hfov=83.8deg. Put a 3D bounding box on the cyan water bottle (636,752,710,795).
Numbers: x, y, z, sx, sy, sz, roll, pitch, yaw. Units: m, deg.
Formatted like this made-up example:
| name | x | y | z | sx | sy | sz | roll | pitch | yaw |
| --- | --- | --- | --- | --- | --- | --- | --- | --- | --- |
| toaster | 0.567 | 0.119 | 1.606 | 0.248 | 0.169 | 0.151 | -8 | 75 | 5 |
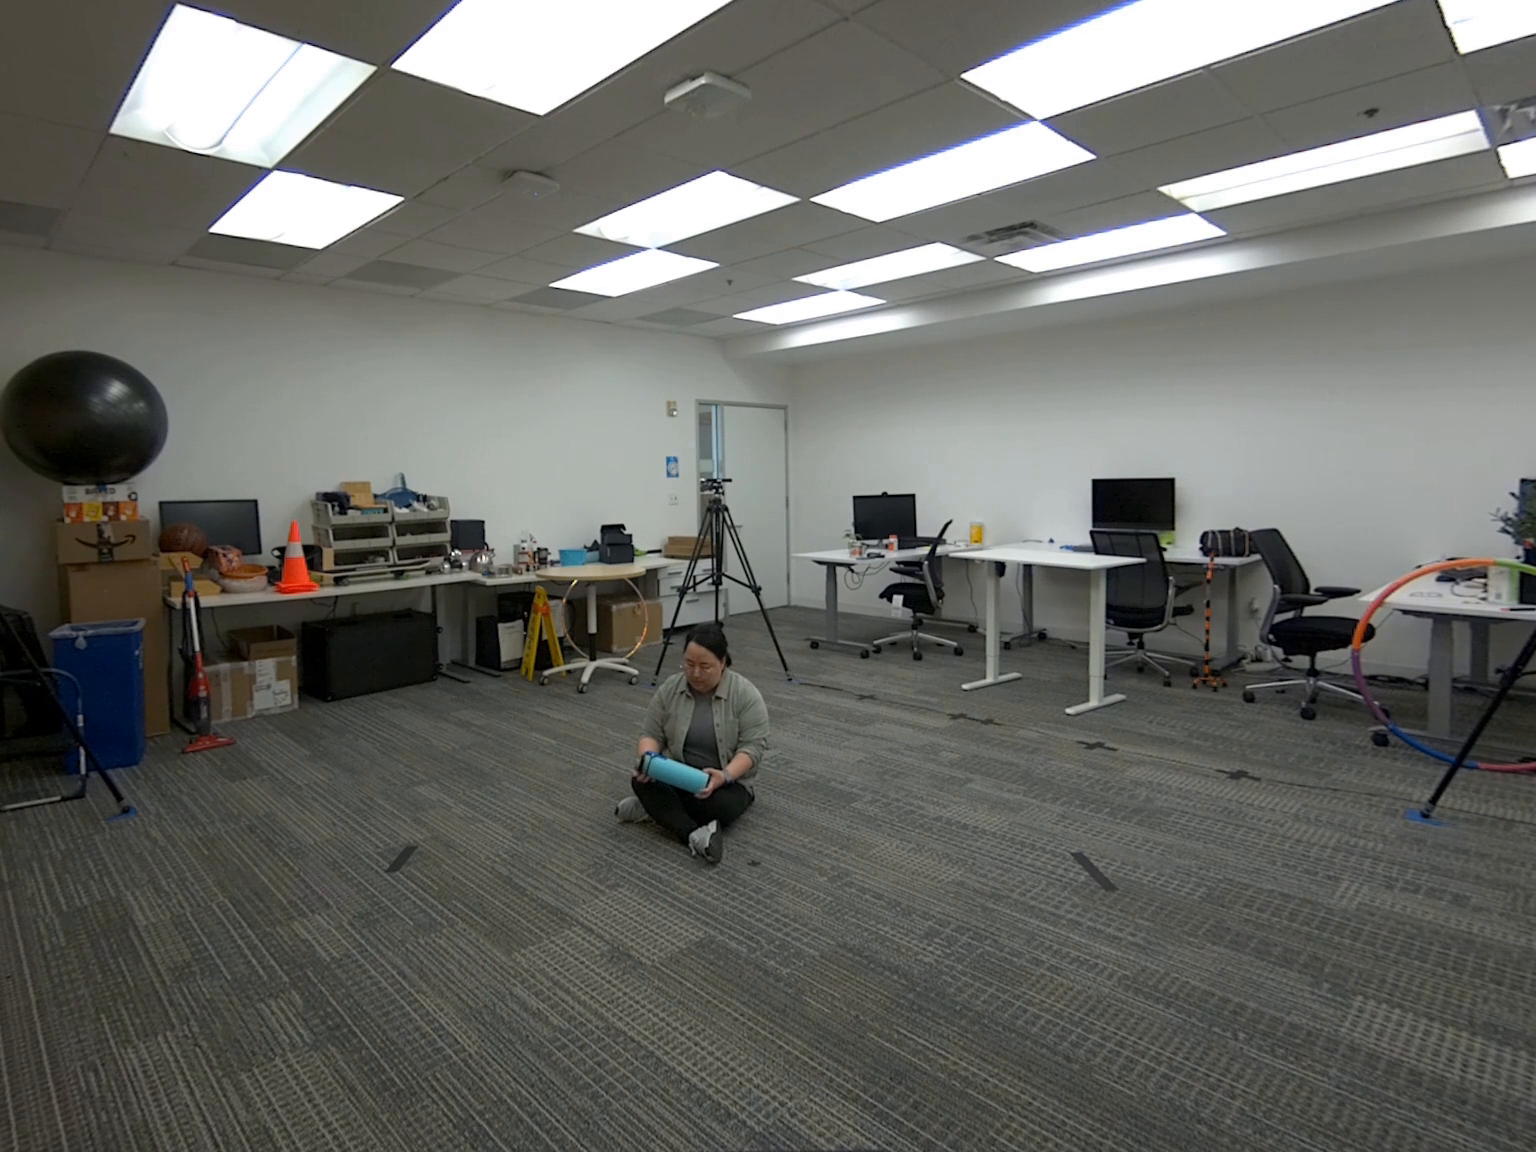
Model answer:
| name | x | y | z | sx | sy | sz | roll | pitch | yaw |
| --- | --- | --- | --- | --- | --- | --- | --- | --- | --- |
| cyan water bottle | -0.380 | 0.770 | 3.317 | 0.284 | 0.092 | 0.092 | 20 | 5 | 1 |
